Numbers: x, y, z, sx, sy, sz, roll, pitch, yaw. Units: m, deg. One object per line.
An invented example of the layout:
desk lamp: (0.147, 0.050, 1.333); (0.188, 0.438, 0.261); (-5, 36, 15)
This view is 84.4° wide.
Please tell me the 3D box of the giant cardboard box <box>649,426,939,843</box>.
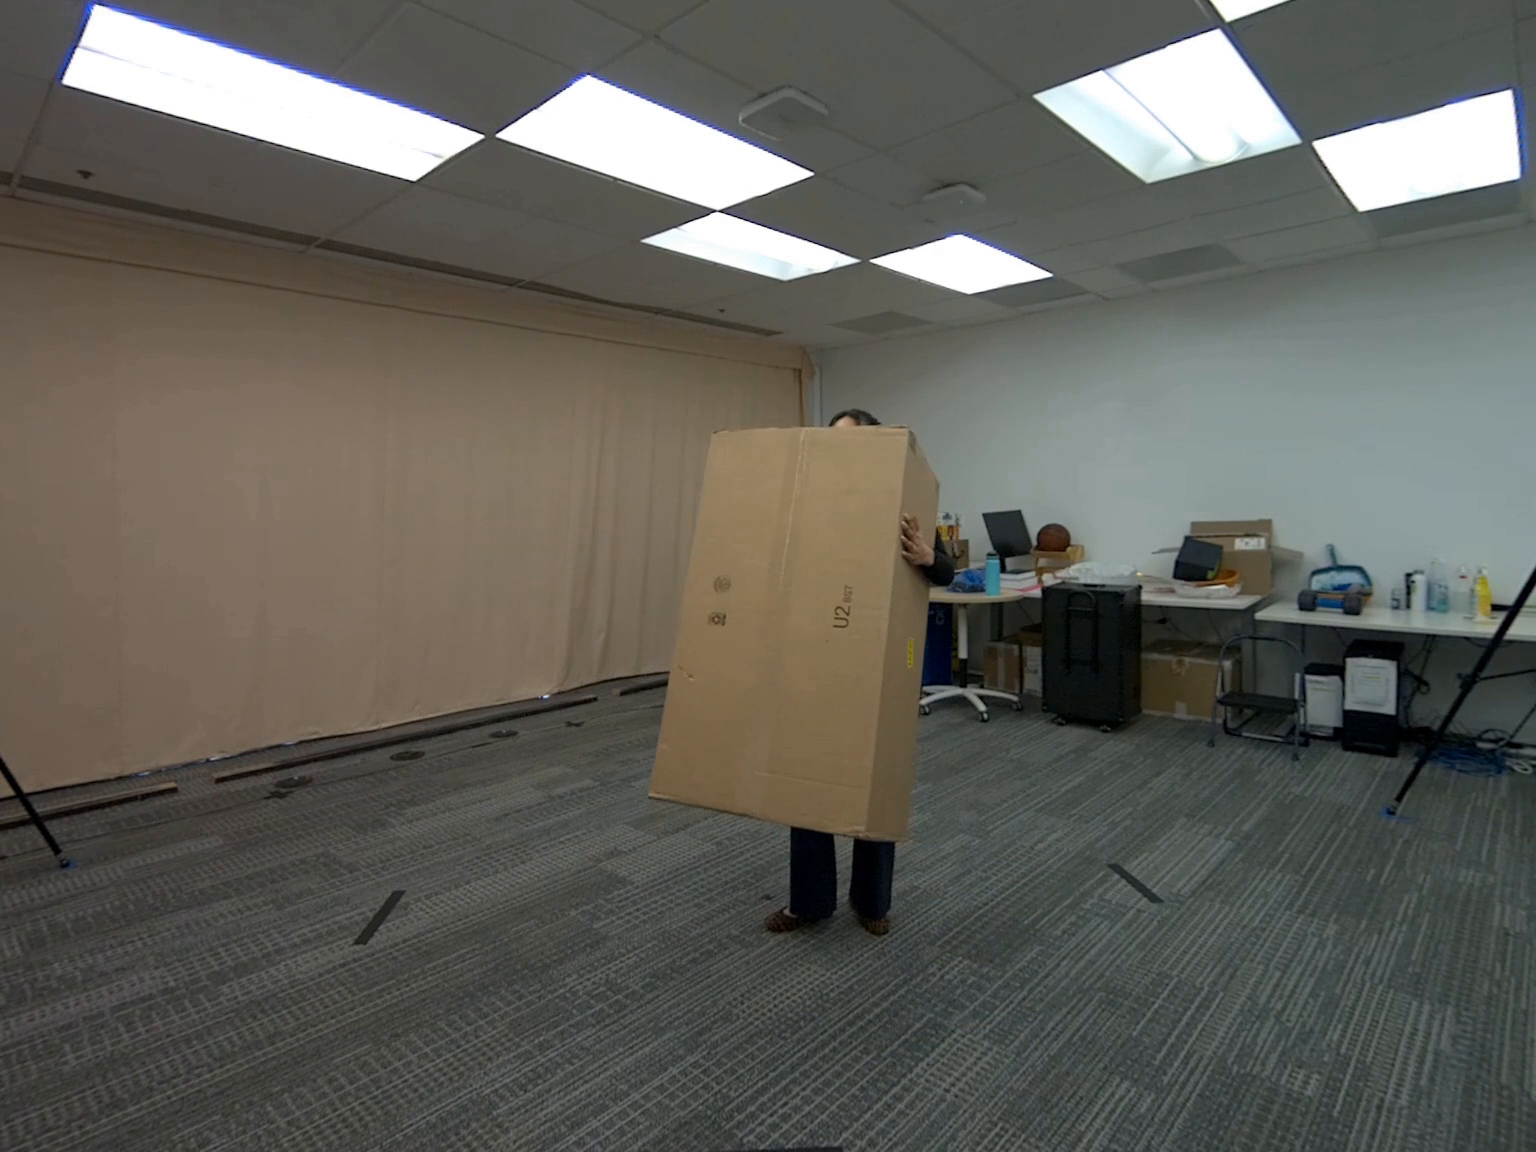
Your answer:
giant cardboard box: (0.103, 0.151, 2.328); (0.593, 1.032, 0.412); (2, -16, 26)
